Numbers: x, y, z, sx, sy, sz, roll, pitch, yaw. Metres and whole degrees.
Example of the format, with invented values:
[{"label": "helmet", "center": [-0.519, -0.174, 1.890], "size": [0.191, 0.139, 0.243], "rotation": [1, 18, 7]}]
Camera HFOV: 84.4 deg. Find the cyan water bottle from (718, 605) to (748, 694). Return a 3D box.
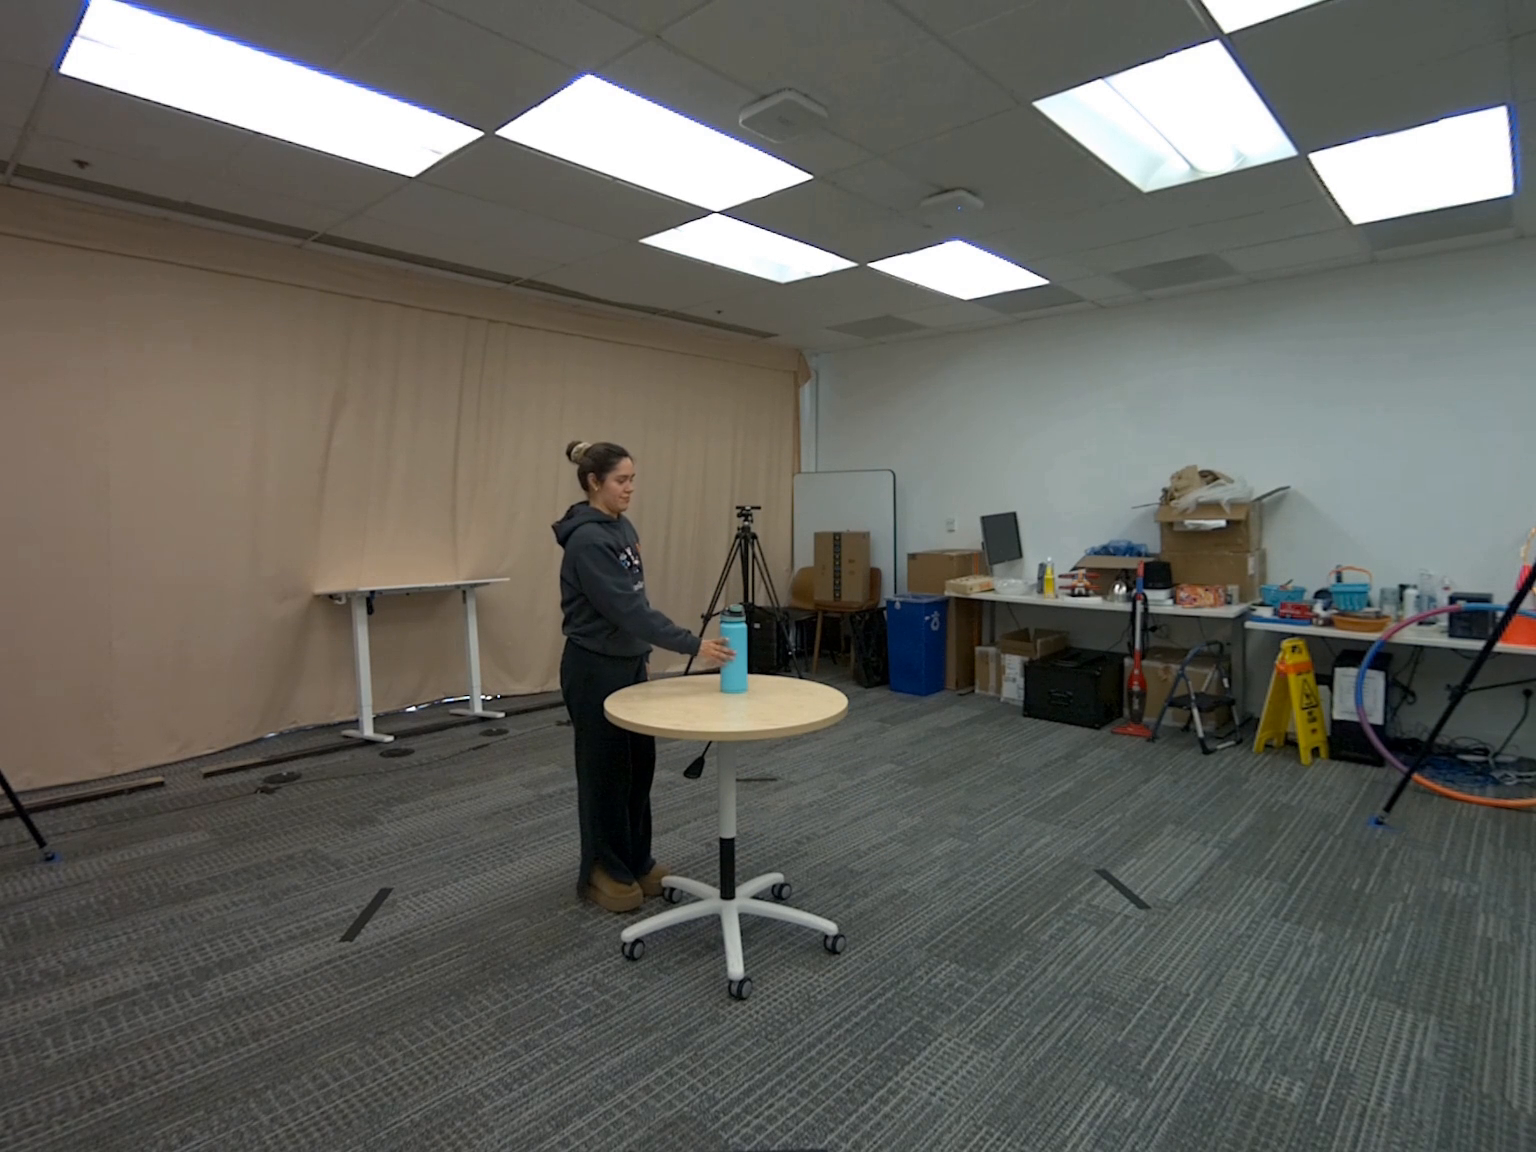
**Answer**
[{"label": "cyan water bottle", "center": [-0.102, 0.241, 2.773], "size": [0.092, 0.283, 0.092], "rotation": [-1, 1, -2]}]
